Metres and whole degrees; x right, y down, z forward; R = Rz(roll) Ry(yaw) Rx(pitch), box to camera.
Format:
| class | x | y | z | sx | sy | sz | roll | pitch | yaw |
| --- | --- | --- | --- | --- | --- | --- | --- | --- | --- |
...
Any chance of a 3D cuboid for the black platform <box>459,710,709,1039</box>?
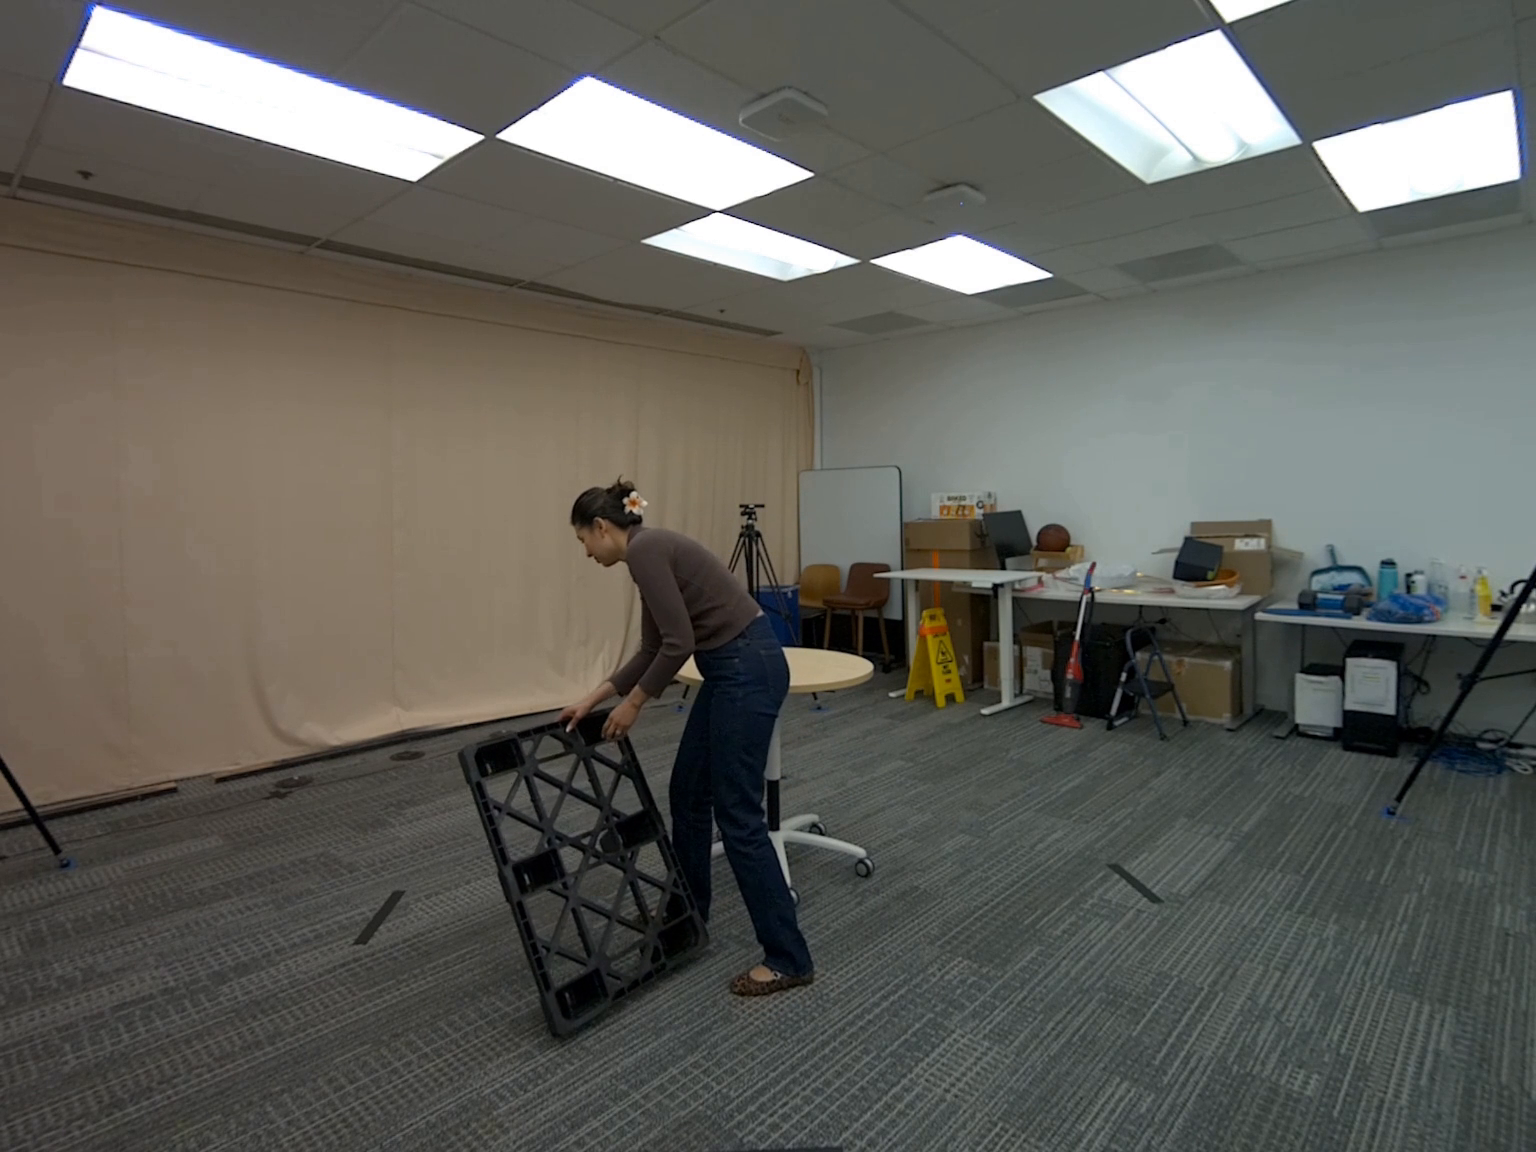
| class | x | y | z | sx | sy | sz | roll | pitch | yaw |
| --- | --- | --- | --- | --- | --- | --- | --- | --- | --- |
| black platform | -0.564 | 0.836 | 2.531 | 0.145 | 0.818 | 0.587 | -36 | -18 | 35 |
